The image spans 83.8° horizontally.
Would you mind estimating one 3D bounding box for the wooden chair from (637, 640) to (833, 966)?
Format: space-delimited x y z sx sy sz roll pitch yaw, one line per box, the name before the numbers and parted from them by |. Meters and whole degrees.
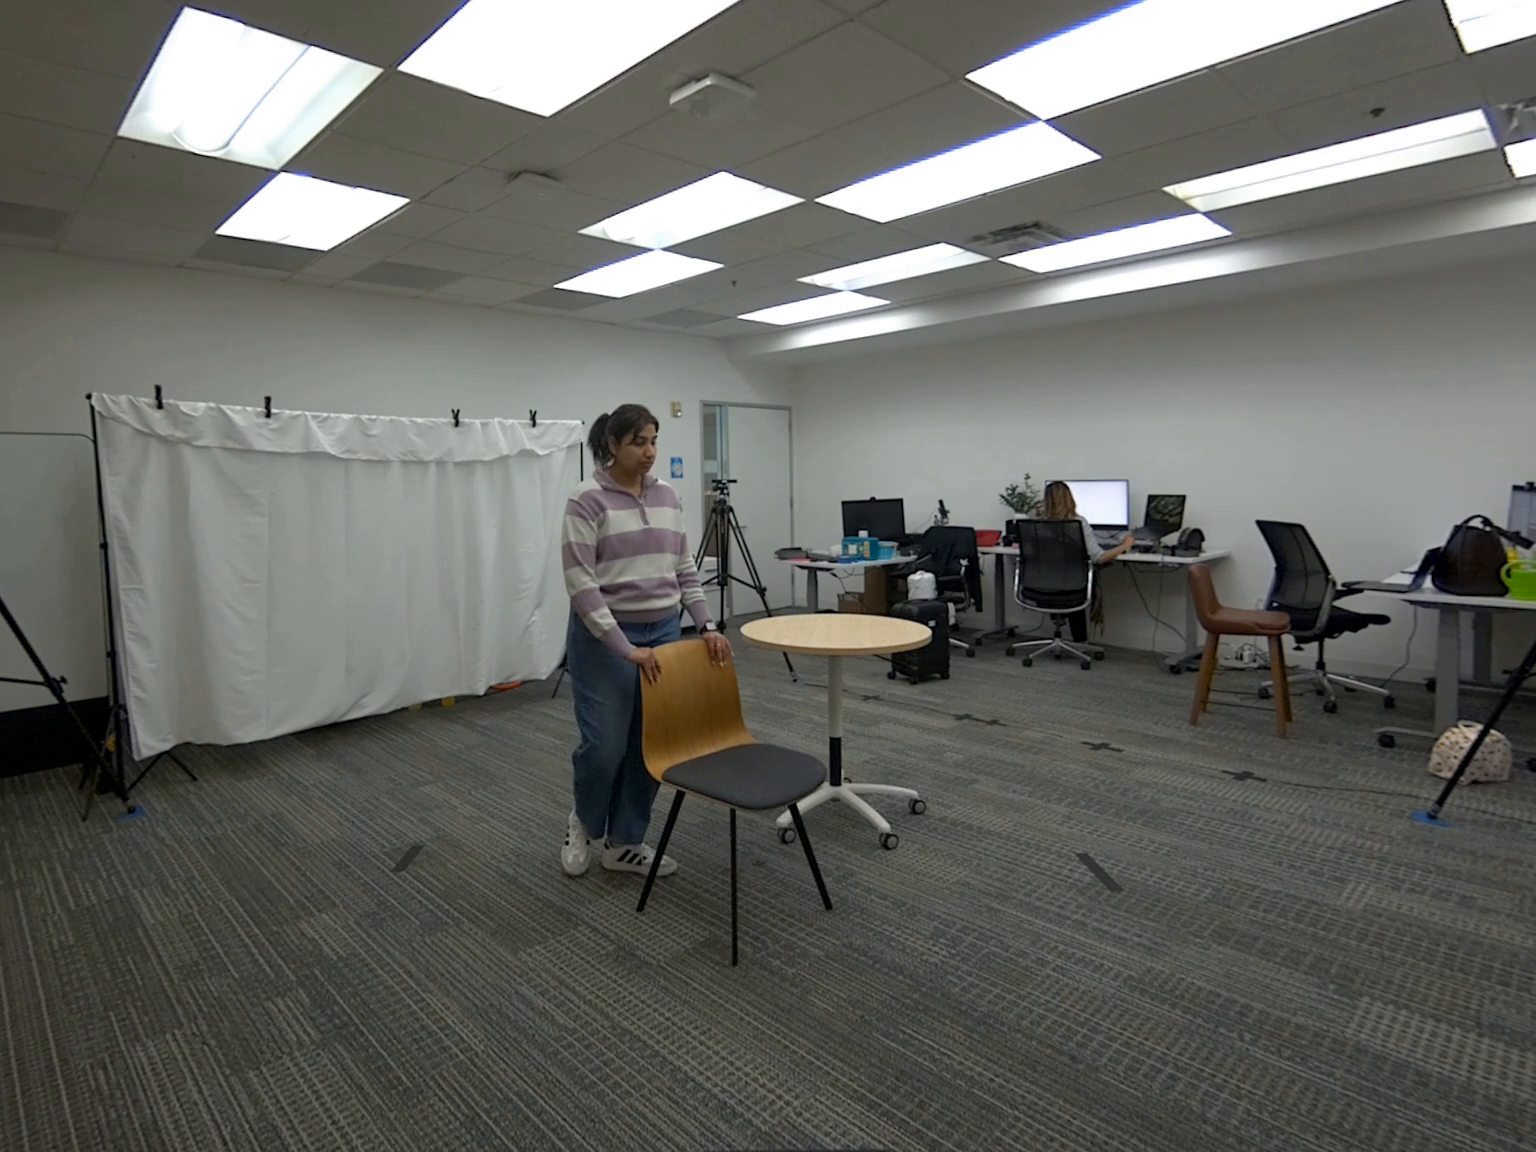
wooden chair | -0.106 0.663 2.732 0.538 0.877 0.465 -3 2 44
